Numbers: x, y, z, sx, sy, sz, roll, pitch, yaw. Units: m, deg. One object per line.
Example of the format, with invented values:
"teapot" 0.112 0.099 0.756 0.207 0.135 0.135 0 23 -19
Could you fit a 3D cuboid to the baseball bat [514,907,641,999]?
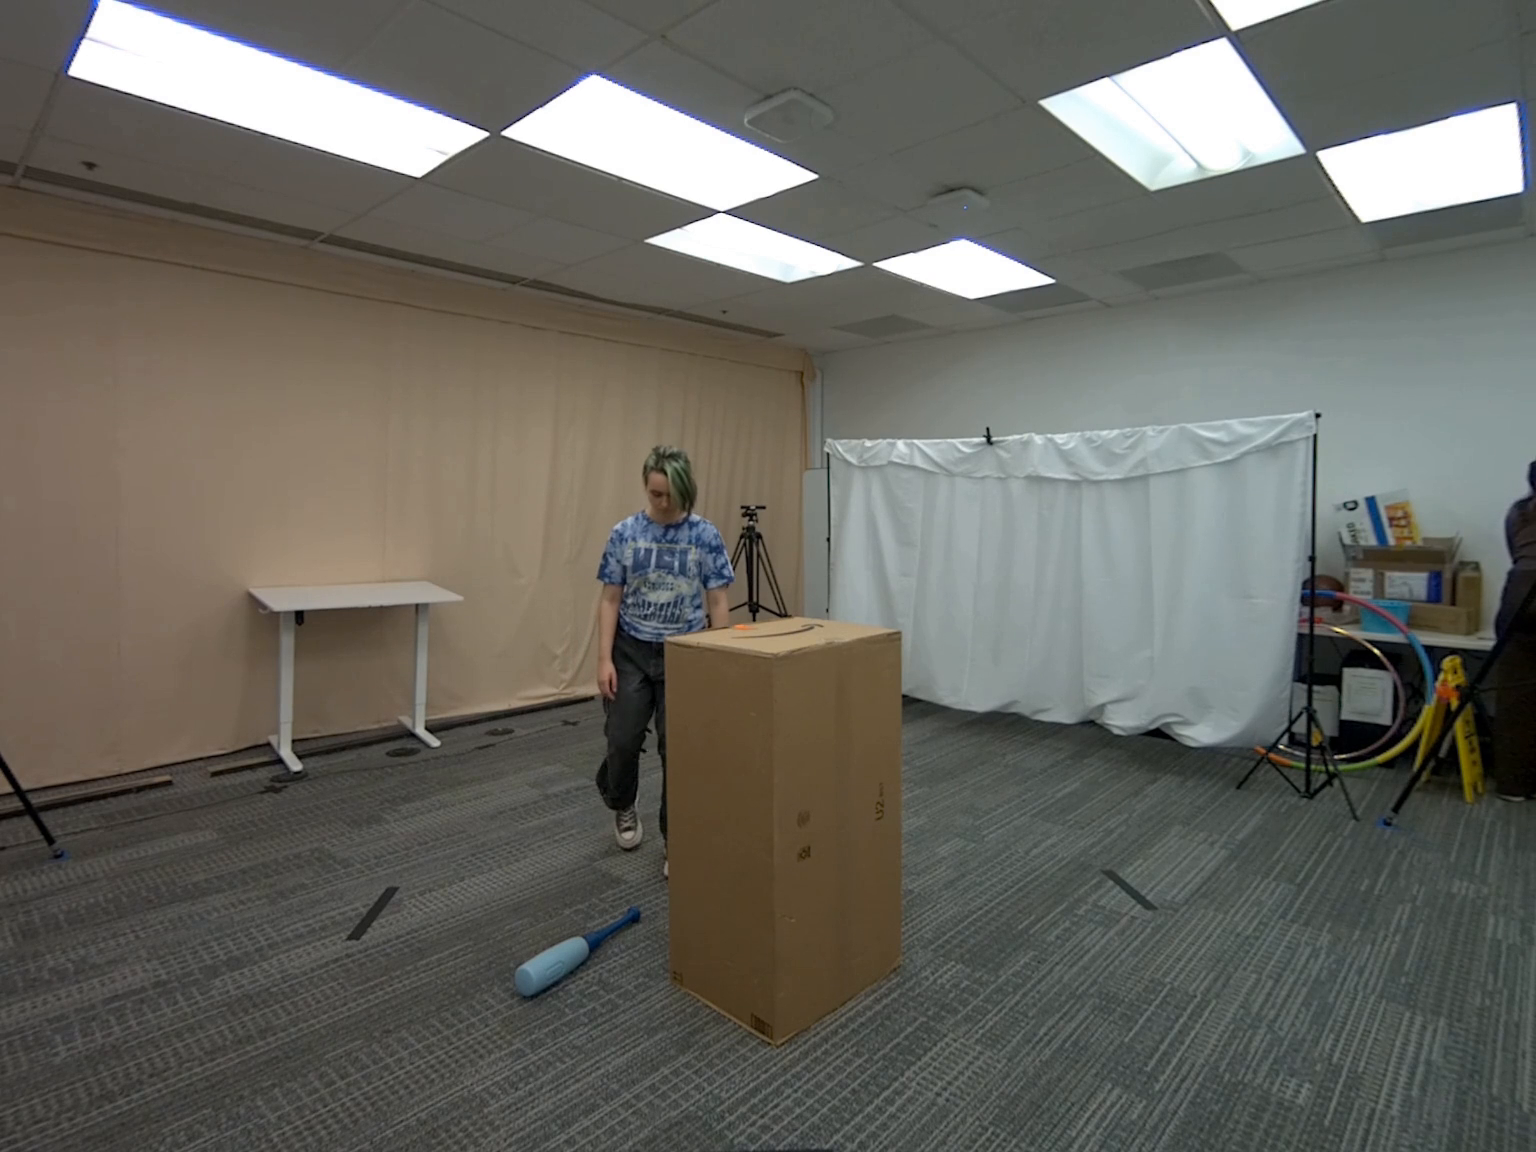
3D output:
"baseball bat" -0.564 1.155 2.598 0.091 0.089 0.530 2 3 25
